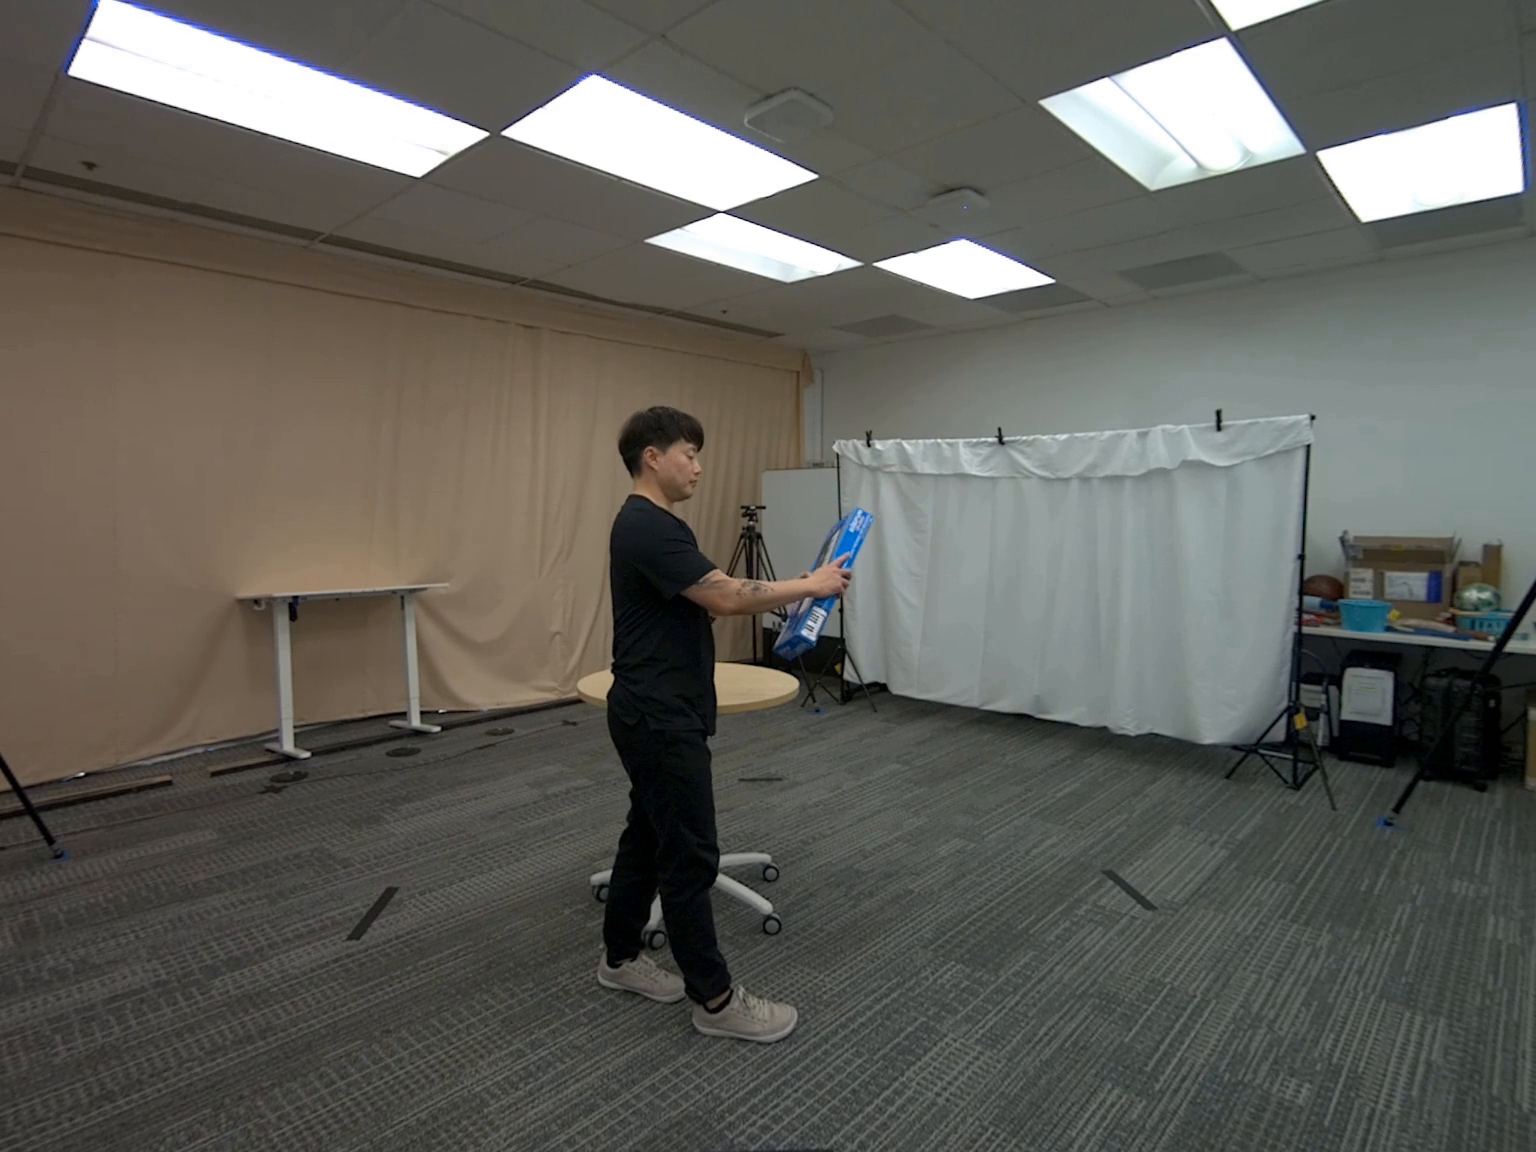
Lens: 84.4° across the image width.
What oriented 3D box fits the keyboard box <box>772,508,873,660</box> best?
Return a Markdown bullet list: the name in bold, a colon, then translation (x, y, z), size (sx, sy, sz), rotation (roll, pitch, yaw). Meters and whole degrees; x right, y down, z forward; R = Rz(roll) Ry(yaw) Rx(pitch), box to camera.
- **keyboard box**: translation (0.167, 0.014, 2.329), size (0.058, 0.437, 0.177), rotation (31, -27, -9)
